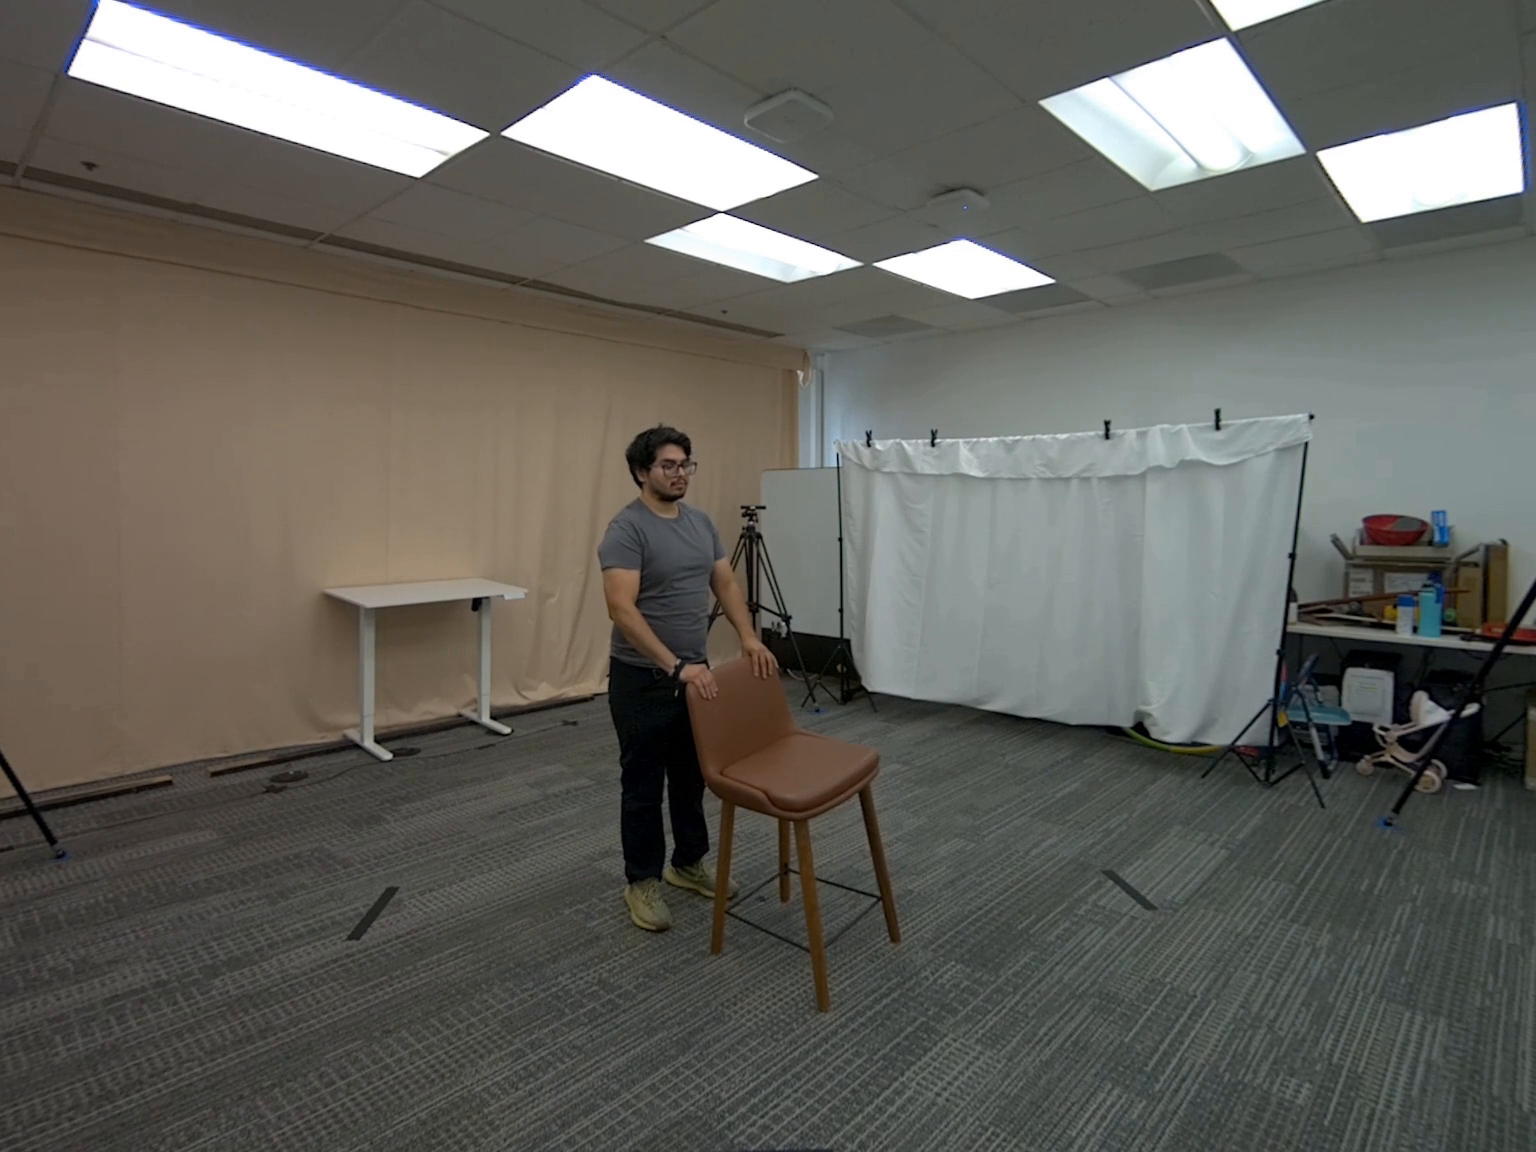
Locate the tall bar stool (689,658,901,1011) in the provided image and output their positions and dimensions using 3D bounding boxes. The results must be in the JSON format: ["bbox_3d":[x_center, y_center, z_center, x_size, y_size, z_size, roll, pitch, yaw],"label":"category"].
[{"bbox_3d":[0.070,0.722,2.559,0.482,0.886,0.444,-1,8,42],"label":"tall bar stool"}]
